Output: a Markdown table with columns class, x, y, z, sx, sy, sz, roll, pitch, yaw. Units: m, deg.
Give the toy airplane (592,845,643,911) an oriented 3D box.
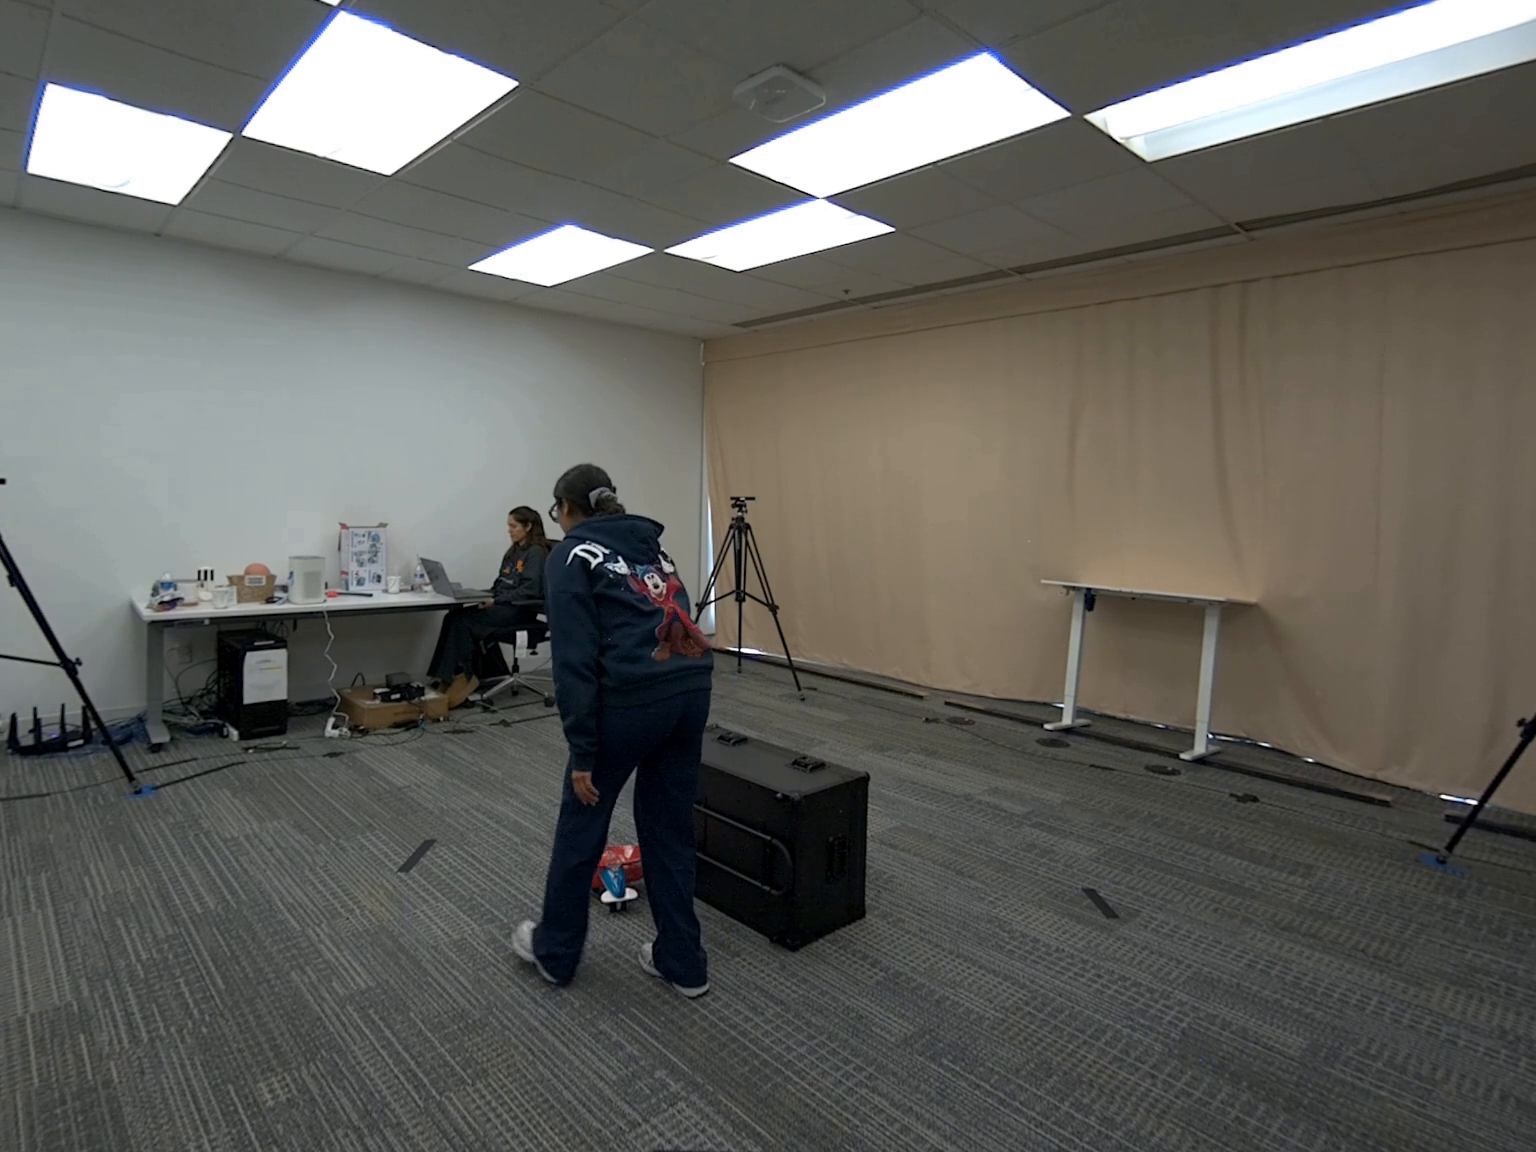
| class | x | y | z | sx | sy | sz | roll | pitch | yaw |
| --- | --- | --- | --- | --- | --- | --- | --- | --- | --- |
| toy airplane | -0.527 | 1.041 | 2.931 | 0.265 | 0.156 | 0.246 | 2 | 4 | 39 |
